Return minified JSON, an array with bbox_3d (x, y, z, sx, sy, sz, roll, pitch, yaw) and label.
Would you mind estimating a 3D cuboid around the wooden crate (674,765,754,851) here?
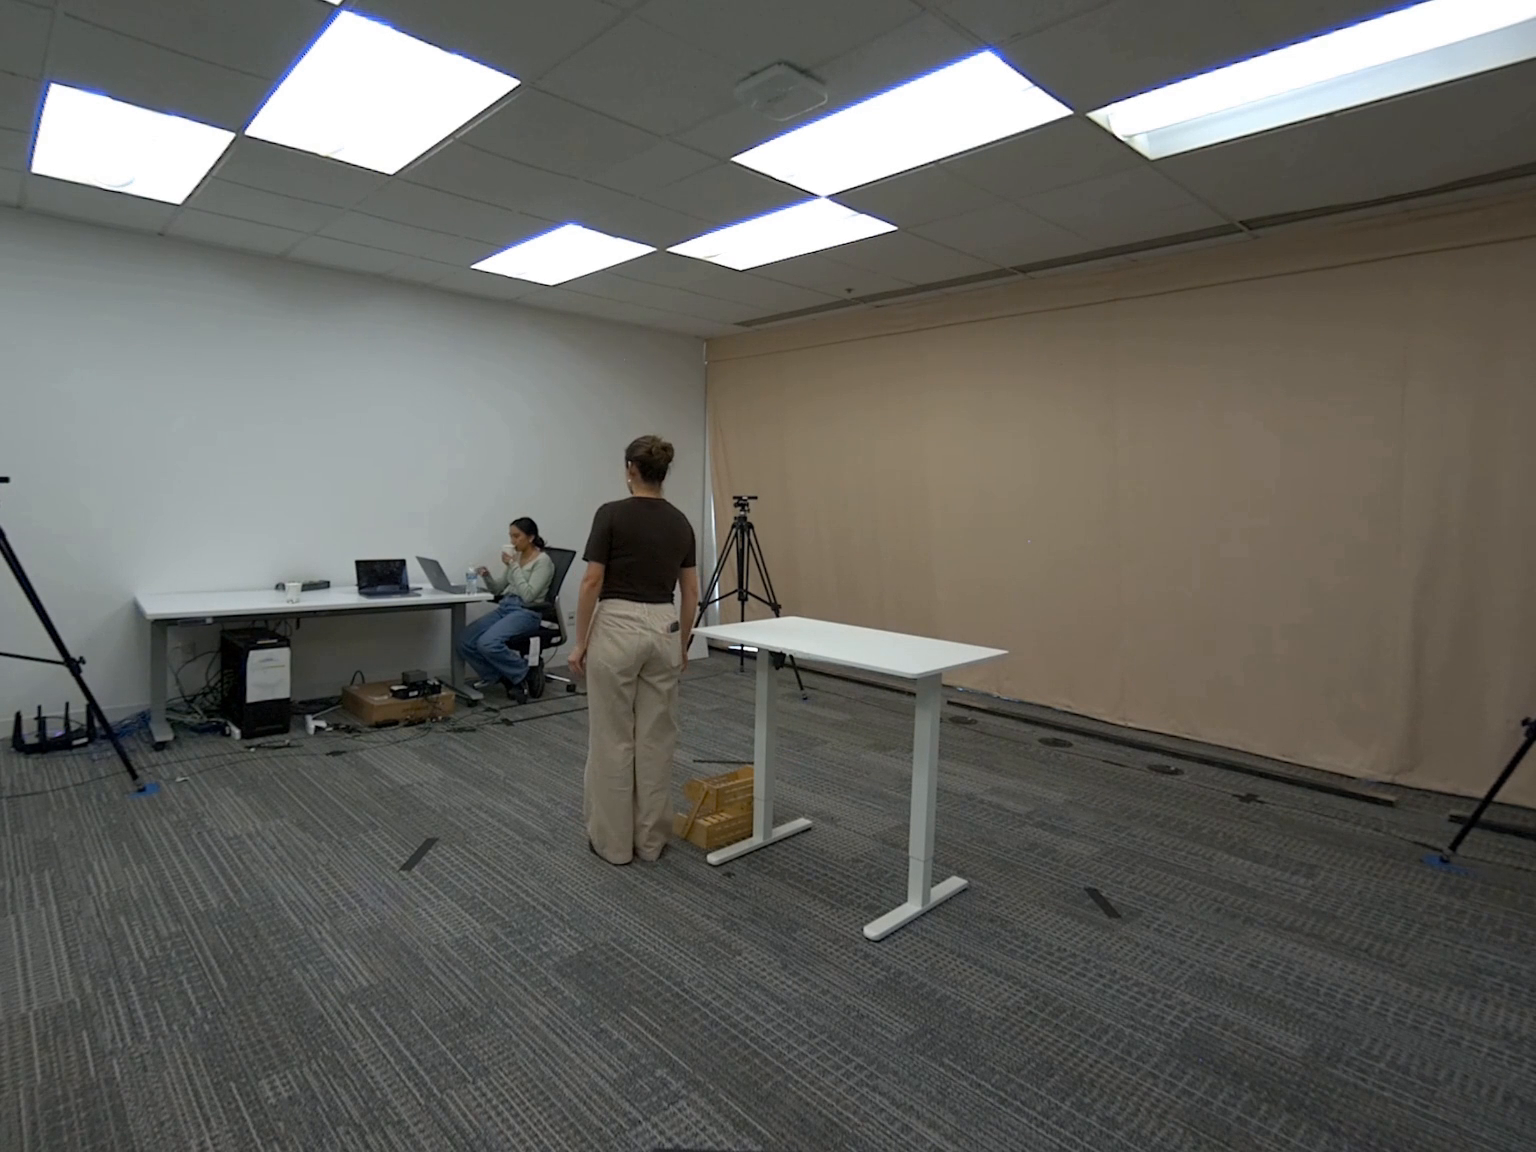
[{"bbox_3d":[-0.211,0.934,3.486,0.317,0.272,0.310,-2,6,-44],"label":"wooden crate"}]
